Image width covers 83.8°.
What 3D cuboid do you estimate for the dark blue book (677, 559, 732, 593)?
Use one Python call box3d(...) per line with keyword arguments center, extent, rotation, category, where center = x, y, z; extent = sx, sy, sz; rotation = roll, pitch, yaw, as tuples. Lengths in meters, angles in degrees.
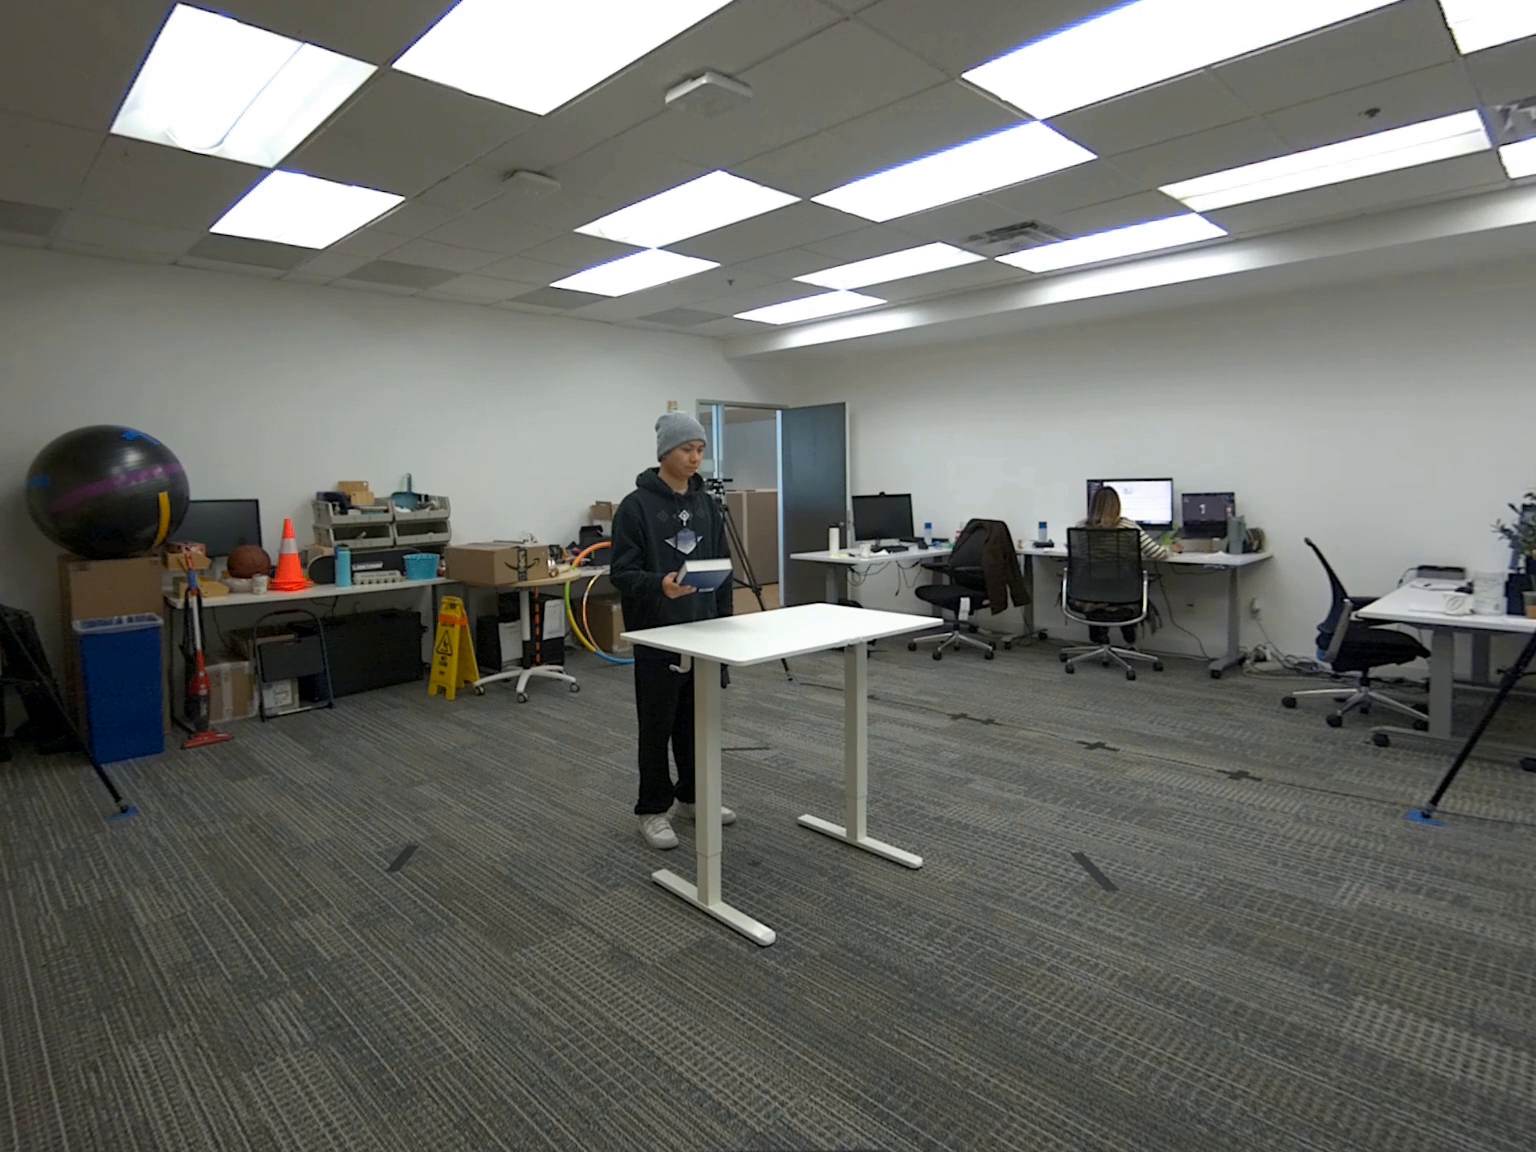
box3d(center=(-0.253, 0.003, 2.973), extent=(0.161, 0.046, 0.245), rotation=(-4, -17, -20), category="dark blue book")
